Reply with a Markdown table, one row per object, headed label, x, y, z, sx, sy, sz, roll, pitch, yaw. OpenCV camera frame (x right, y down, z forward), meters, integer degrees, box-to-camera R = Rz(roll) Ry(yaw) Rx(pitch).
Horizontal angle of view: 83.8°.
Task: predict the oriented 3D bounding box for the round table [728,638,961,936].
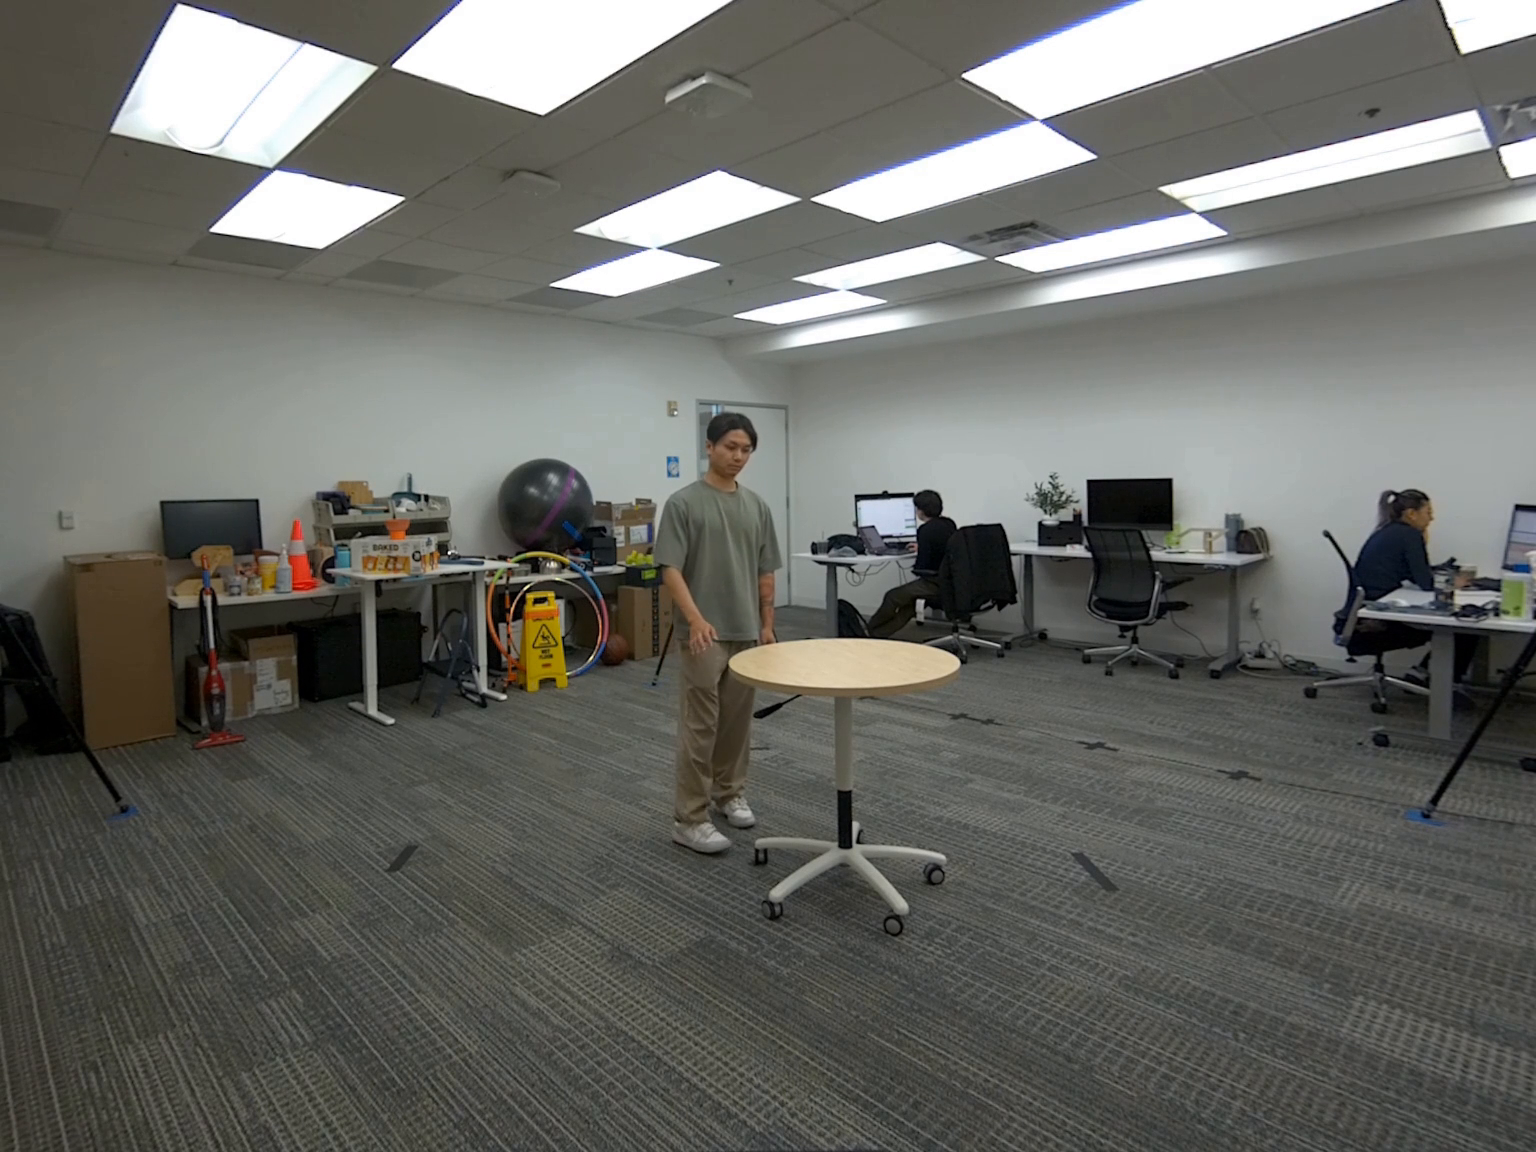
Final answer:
| label | x | y | z | sx | sy | sz | roll | pitch | yaw |
| --- | --- | --- | --- | --- | --- | --- | --- | --- | --- |
| round table | 0.267 | 0.675 | 2.894 | 0.763 | 0.791 | 0.768 | -1 | 5 | -2 |
